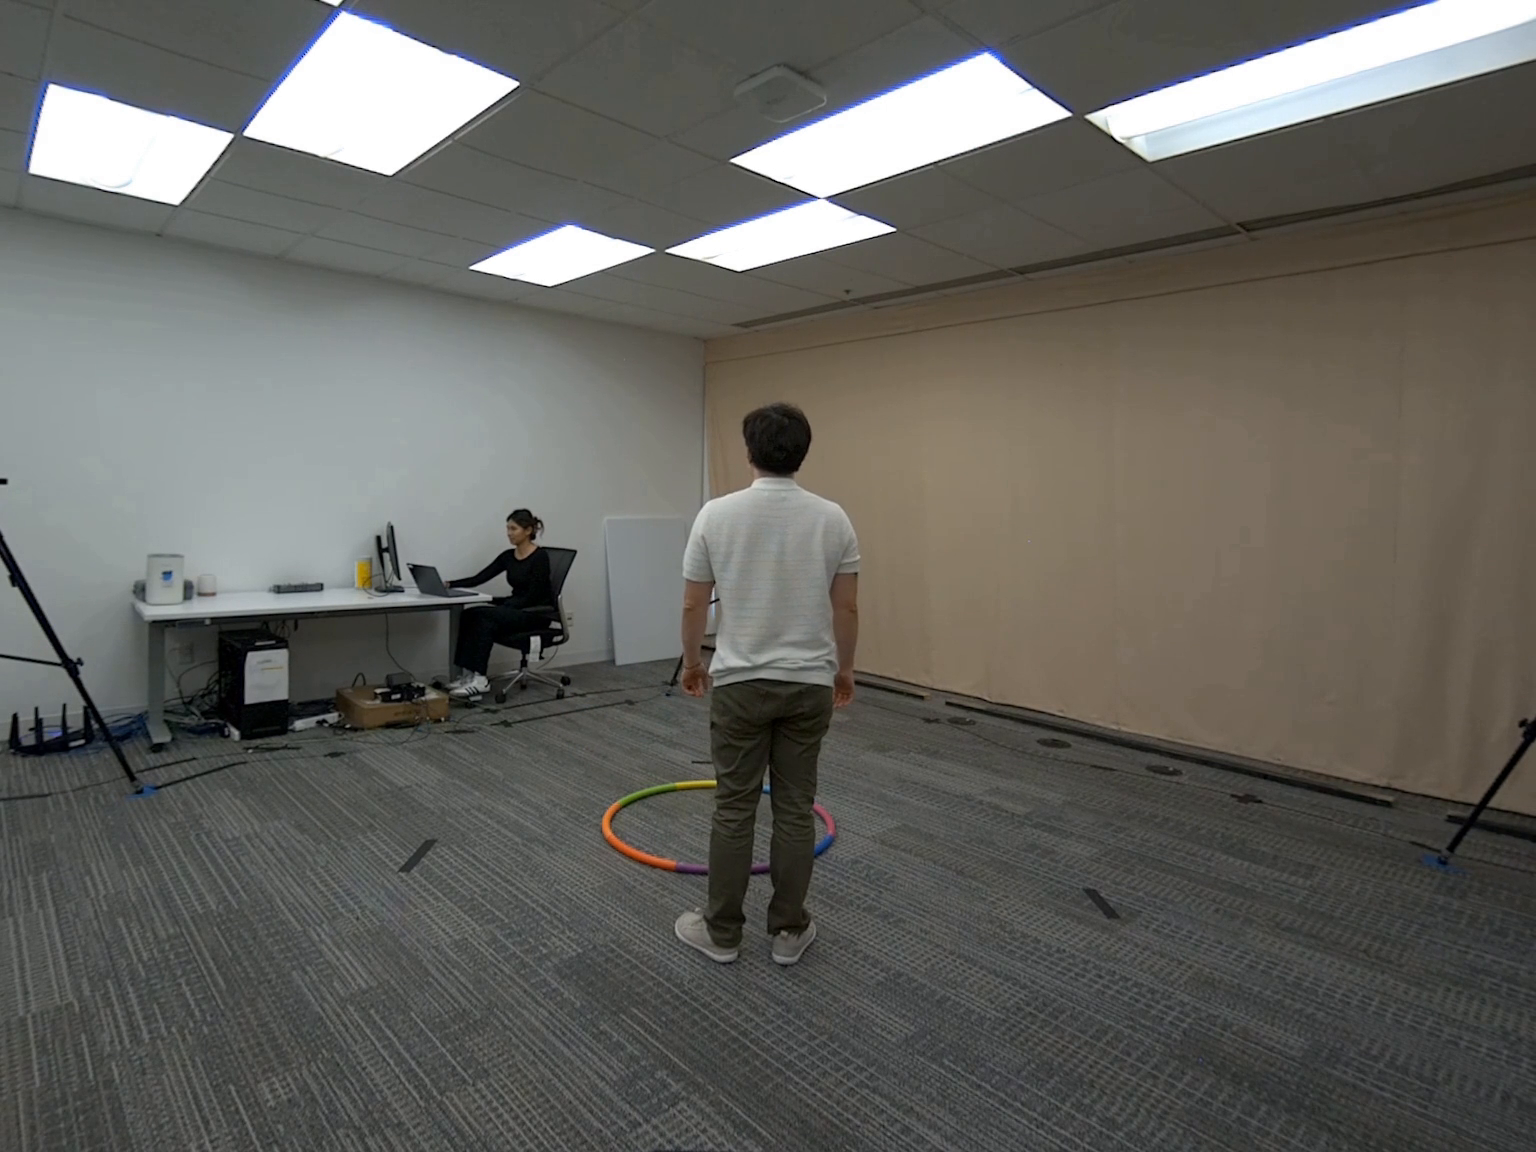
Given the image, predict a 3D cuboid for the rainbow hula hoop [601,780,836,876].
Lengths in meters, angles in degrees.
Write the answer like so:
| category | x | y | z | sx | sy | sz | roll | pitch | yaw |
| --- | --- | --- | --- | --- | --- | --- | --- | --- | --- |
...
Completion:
| category | x | y | z | sx | sy | sz | roll | pitch | yaw |
| --- | --- | --- | --- | --- | --- | --- | --- | --- | --- |
| rainbow hula hoop | -0.216 | 1.032 | 3.579 | 0.978 | 0.035 | 0.982 | 1 | 5 | -1 |
